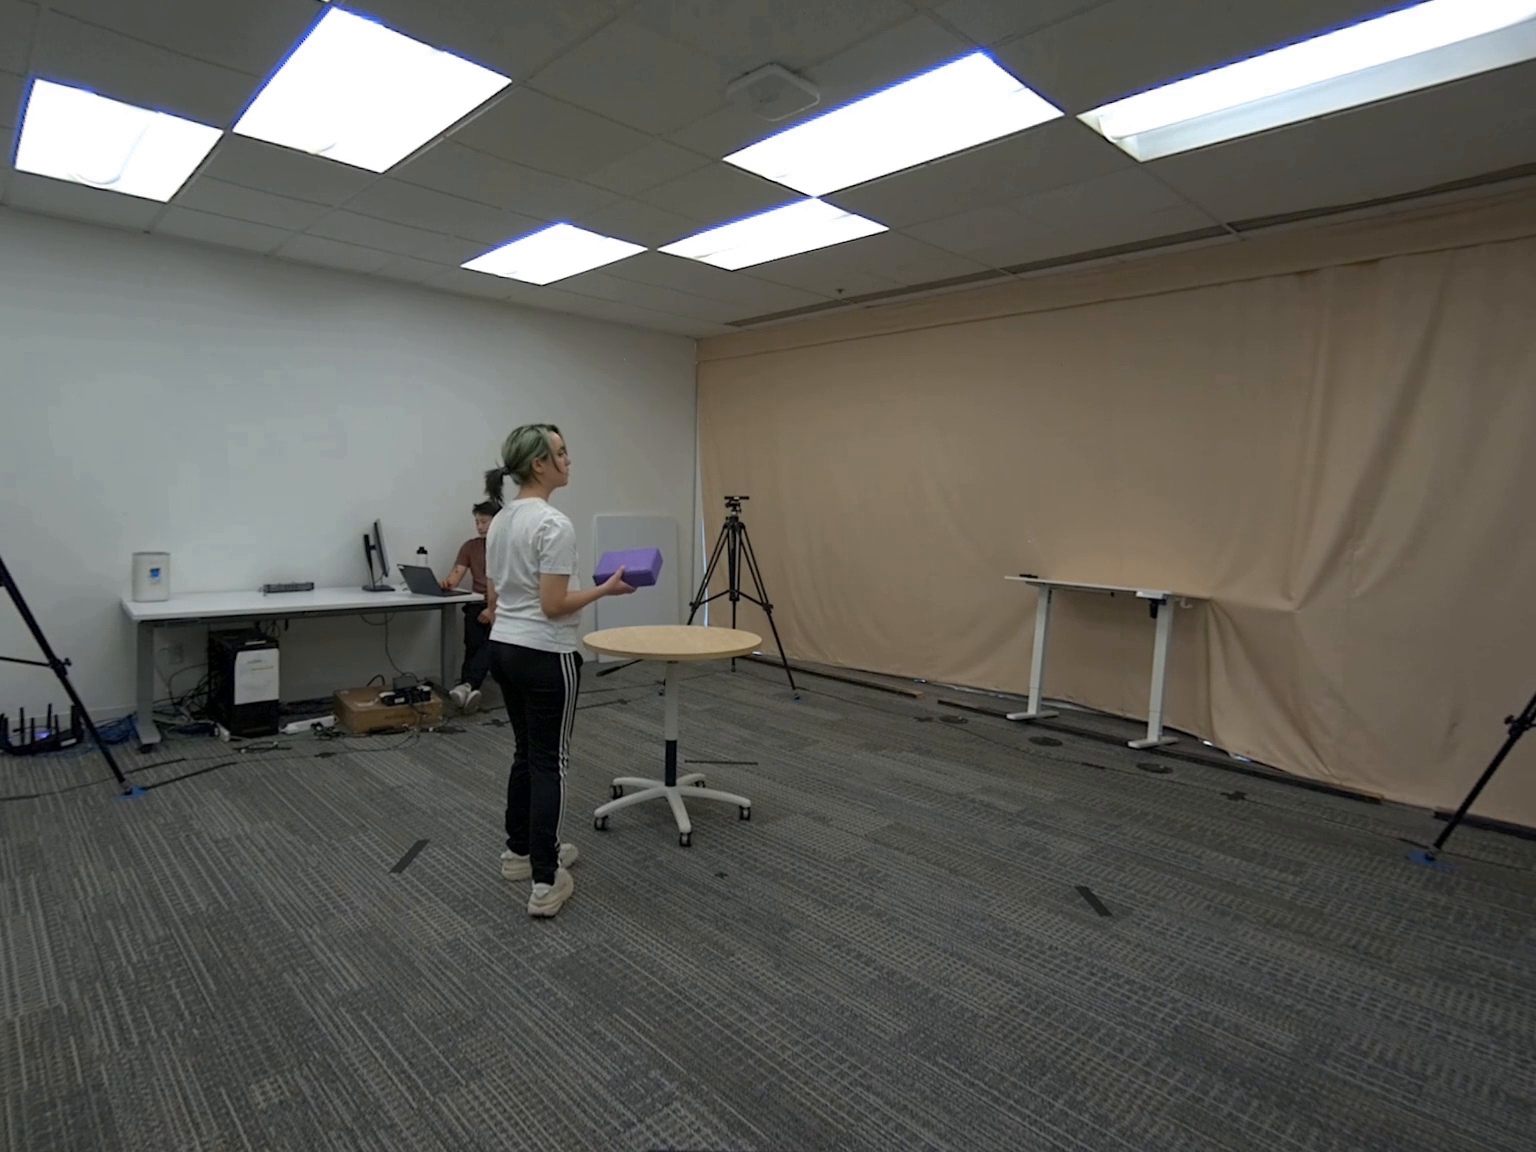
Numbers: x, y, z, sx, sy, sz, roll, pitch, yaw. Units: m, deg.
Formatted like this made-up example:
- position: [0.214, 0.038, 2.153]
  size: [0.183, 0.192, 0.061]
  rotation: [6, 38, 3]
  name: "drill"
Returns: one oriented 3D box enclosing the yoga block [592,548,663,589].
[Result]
- position: [-0.526, -0.023, 3.095]
  size: [0.231, 0.074, 0.151]
  rotation: [-7, 37, 13]
  name: "yoga block"
